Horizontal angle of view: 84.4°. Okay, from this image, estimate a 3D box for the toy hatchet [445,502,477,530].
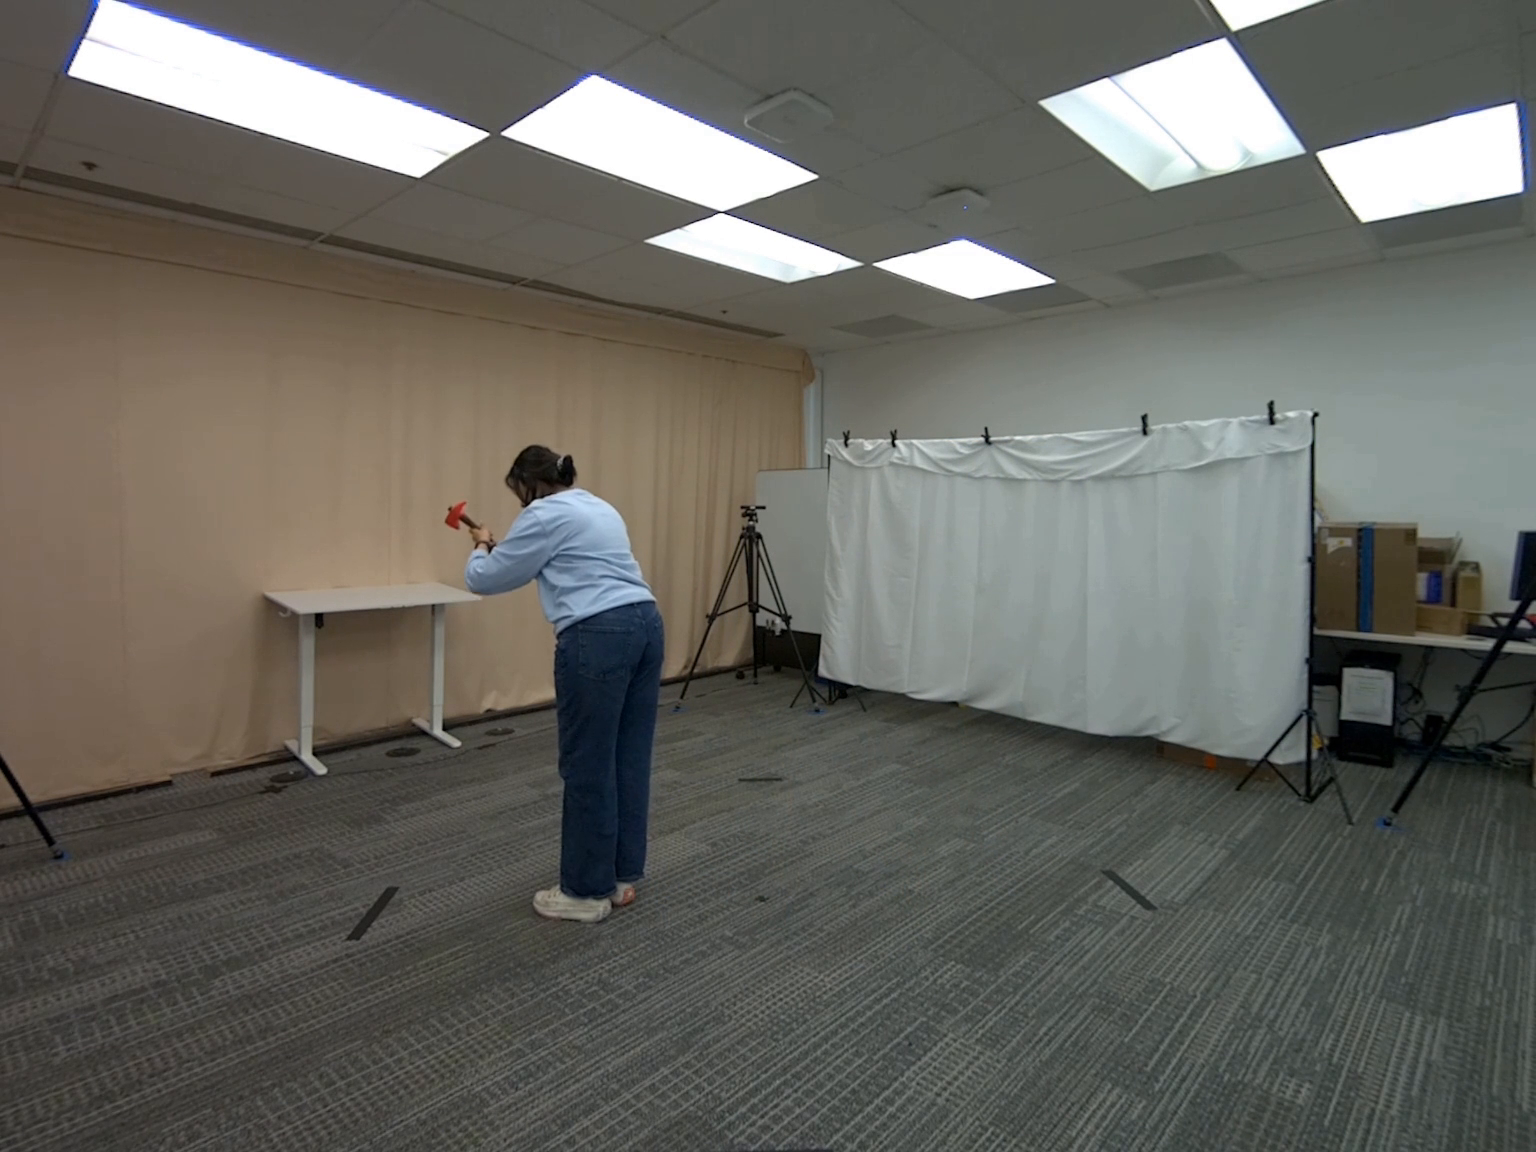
[{"bbox_3d":[-1.108,-0.146,3.150,0.133,0.264,0.030,-24,21,18],"label":"toy hatchet"}]
